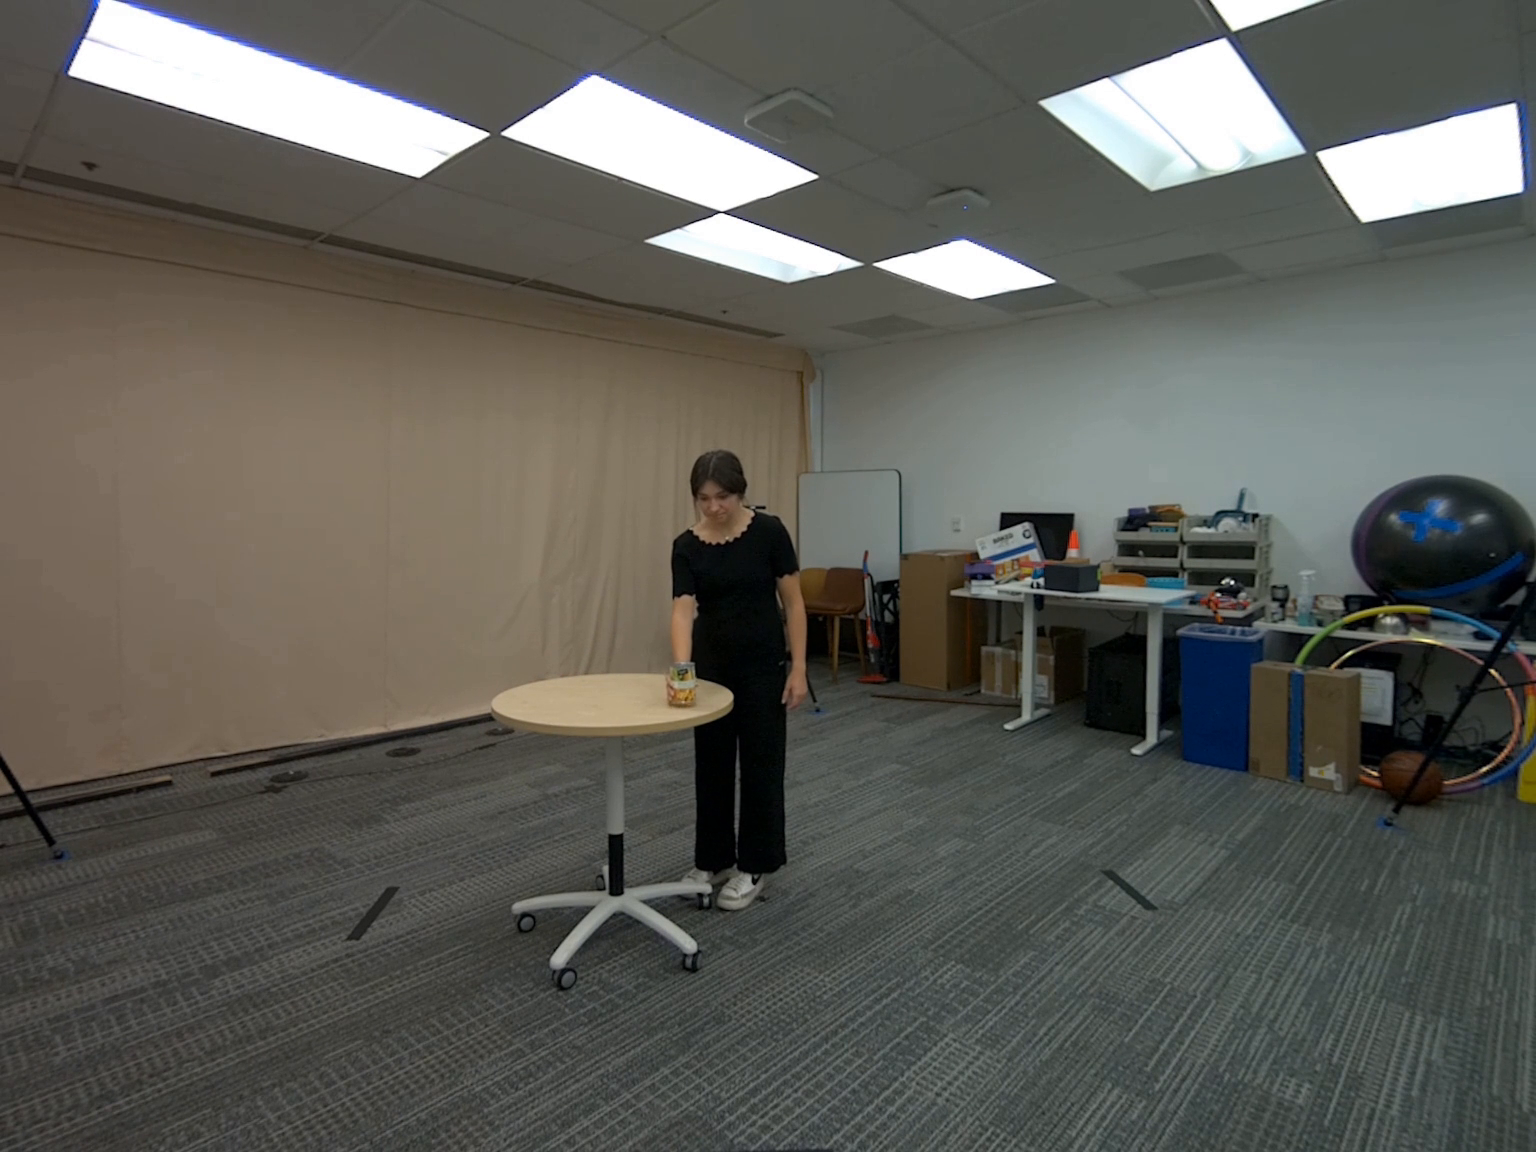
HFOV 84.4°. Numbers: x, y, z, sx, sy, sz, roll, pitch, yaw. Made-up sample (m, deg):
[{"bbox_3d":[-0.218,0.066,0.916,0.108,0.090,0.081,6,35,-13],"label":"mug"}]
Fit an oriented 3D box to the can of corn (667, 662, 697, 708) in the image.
[{"bbox_3d":[-0.259,0.317,2.560,0.074,0.111,0.074,-2,4,-2],"label":"can of corn"}]
